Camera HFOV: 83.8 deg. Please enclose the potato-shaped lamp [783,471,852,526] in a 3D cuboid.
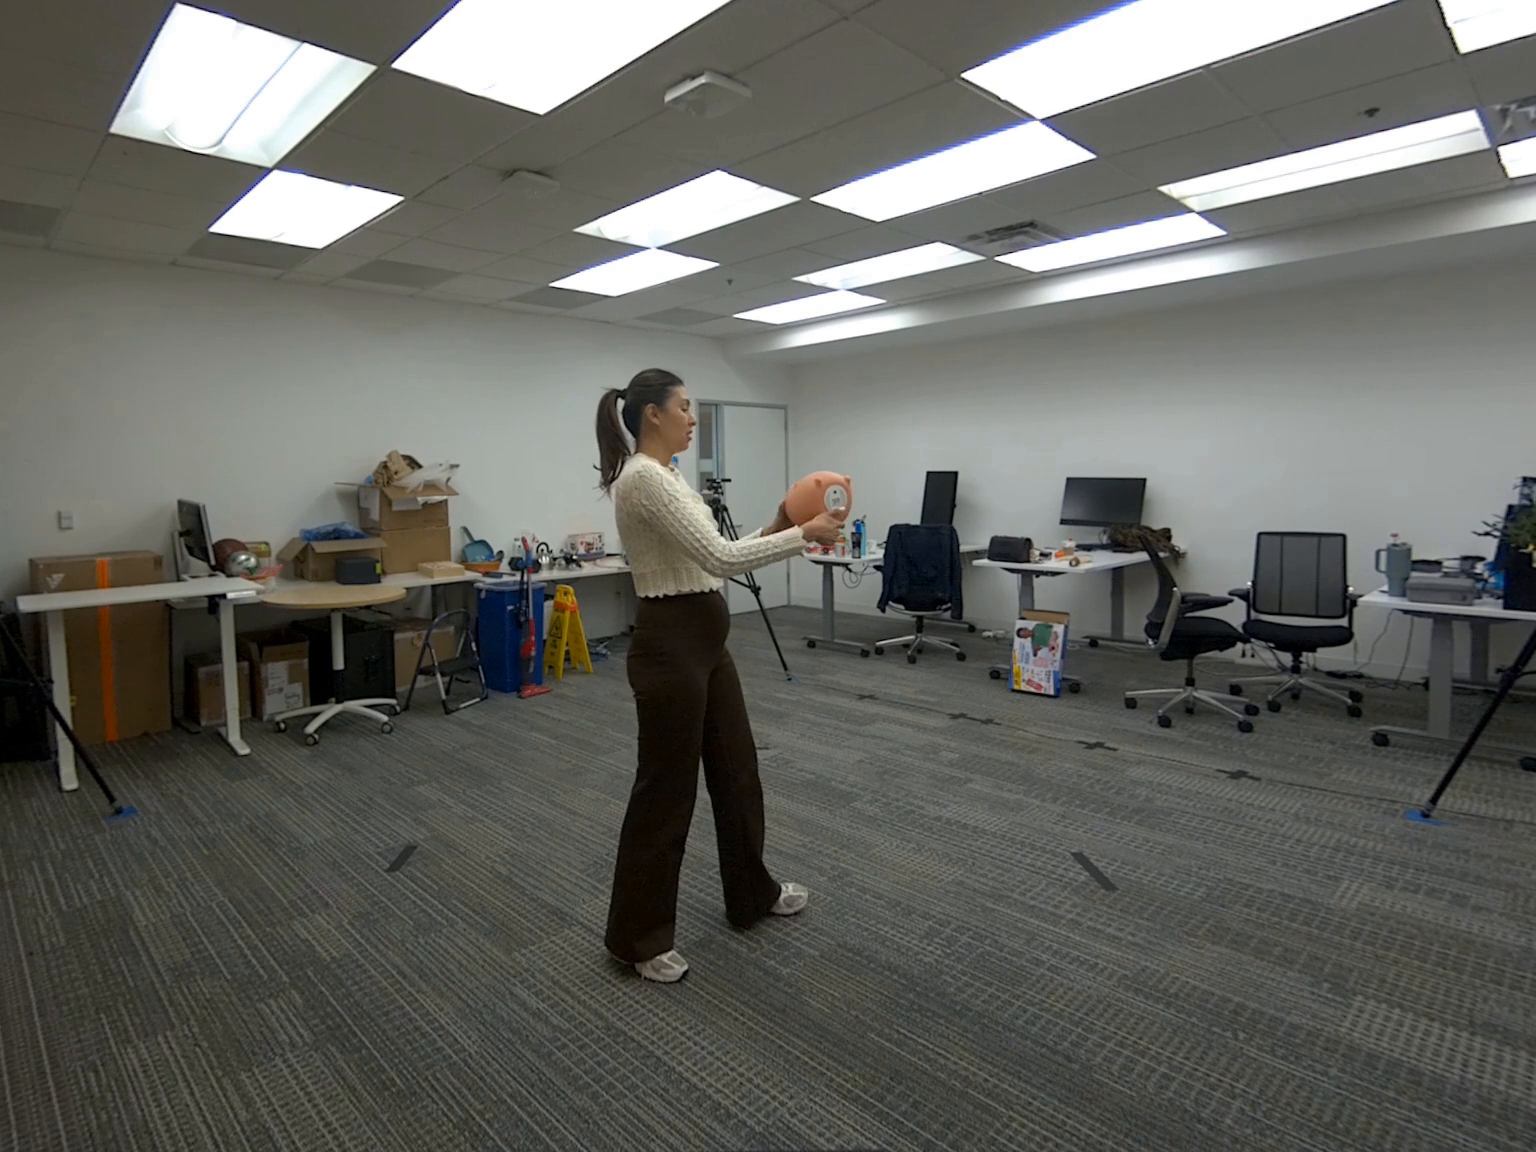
[{"bbox_3d":[0.139,-0.212,2.436,0.161,0.170,0.204,-9,11,-29],"label":"potato-shaped lamp"}]
